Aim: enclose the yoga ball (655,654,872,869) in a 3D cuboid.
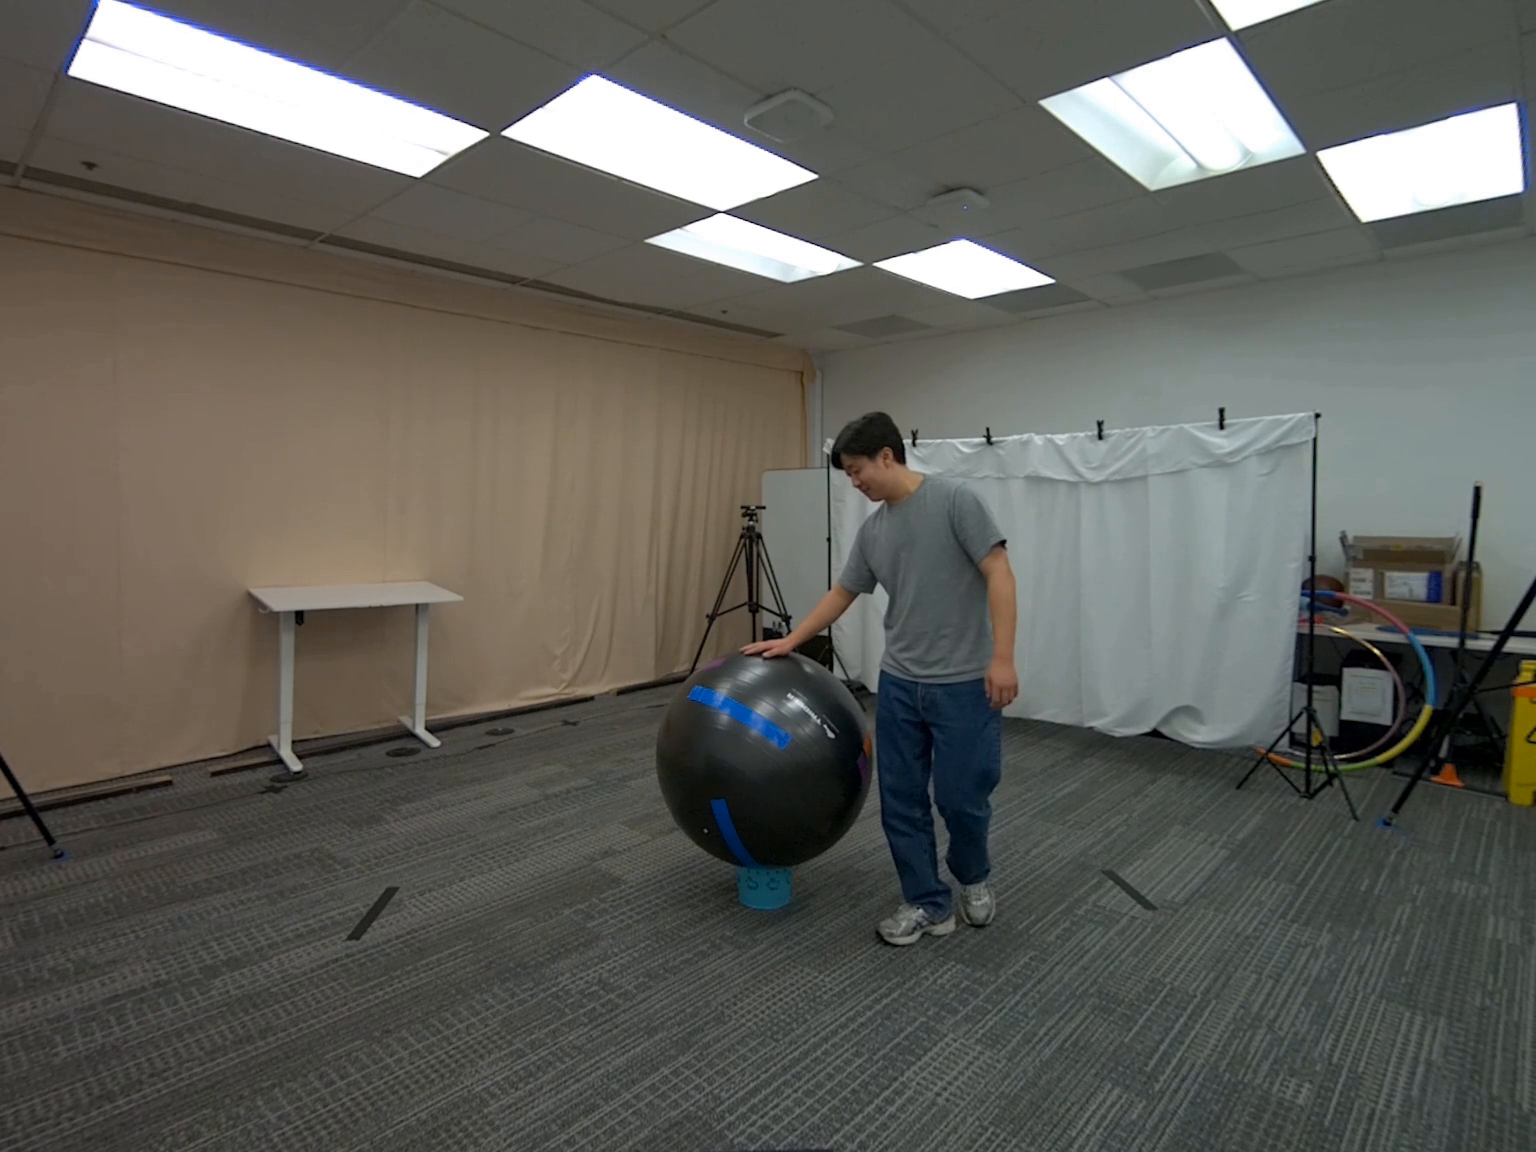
[{"bbox_3d":[-0.019,0.636,2.971,0.757,0.756,0.760,0,4,-2],"label":"yoga ball"}]
